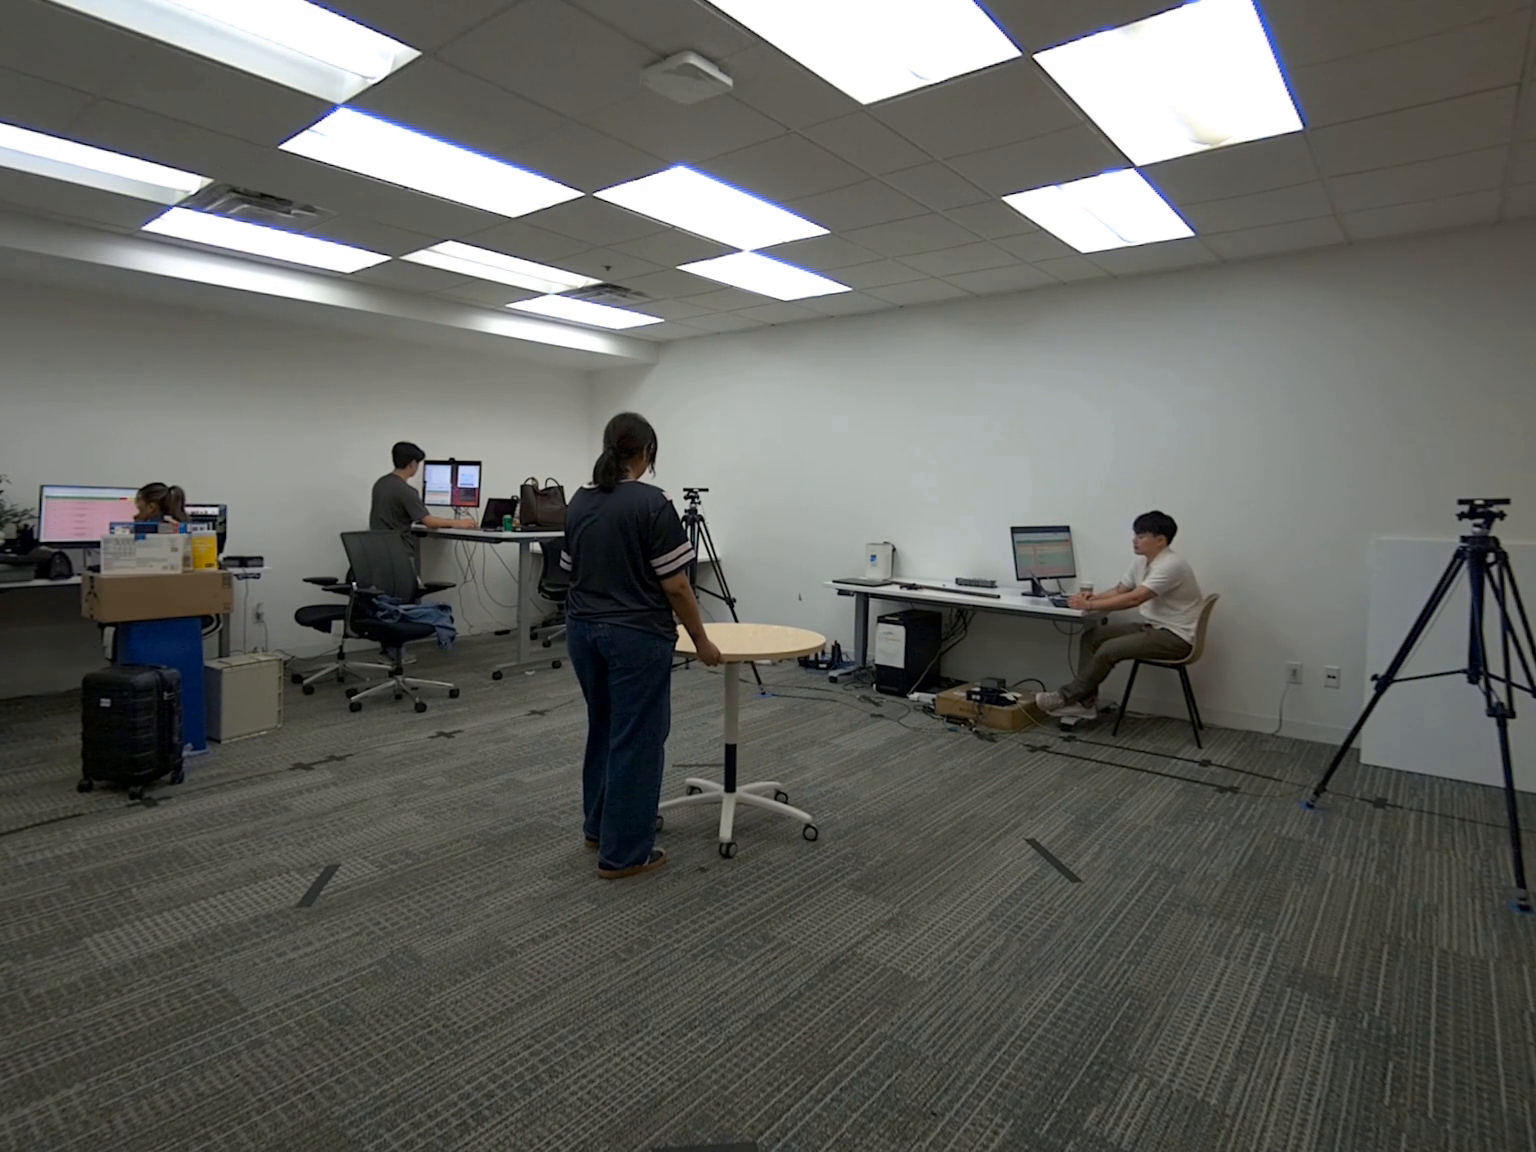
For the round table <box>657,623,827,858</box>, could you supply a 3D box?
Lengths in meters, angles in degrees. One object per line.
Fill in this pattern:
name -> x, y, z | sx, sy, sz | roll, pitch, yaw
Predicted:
round table -> -0.155, 0.643, 3.516 | 0.763, 0.792, 0.767 | 1, 3, -2
